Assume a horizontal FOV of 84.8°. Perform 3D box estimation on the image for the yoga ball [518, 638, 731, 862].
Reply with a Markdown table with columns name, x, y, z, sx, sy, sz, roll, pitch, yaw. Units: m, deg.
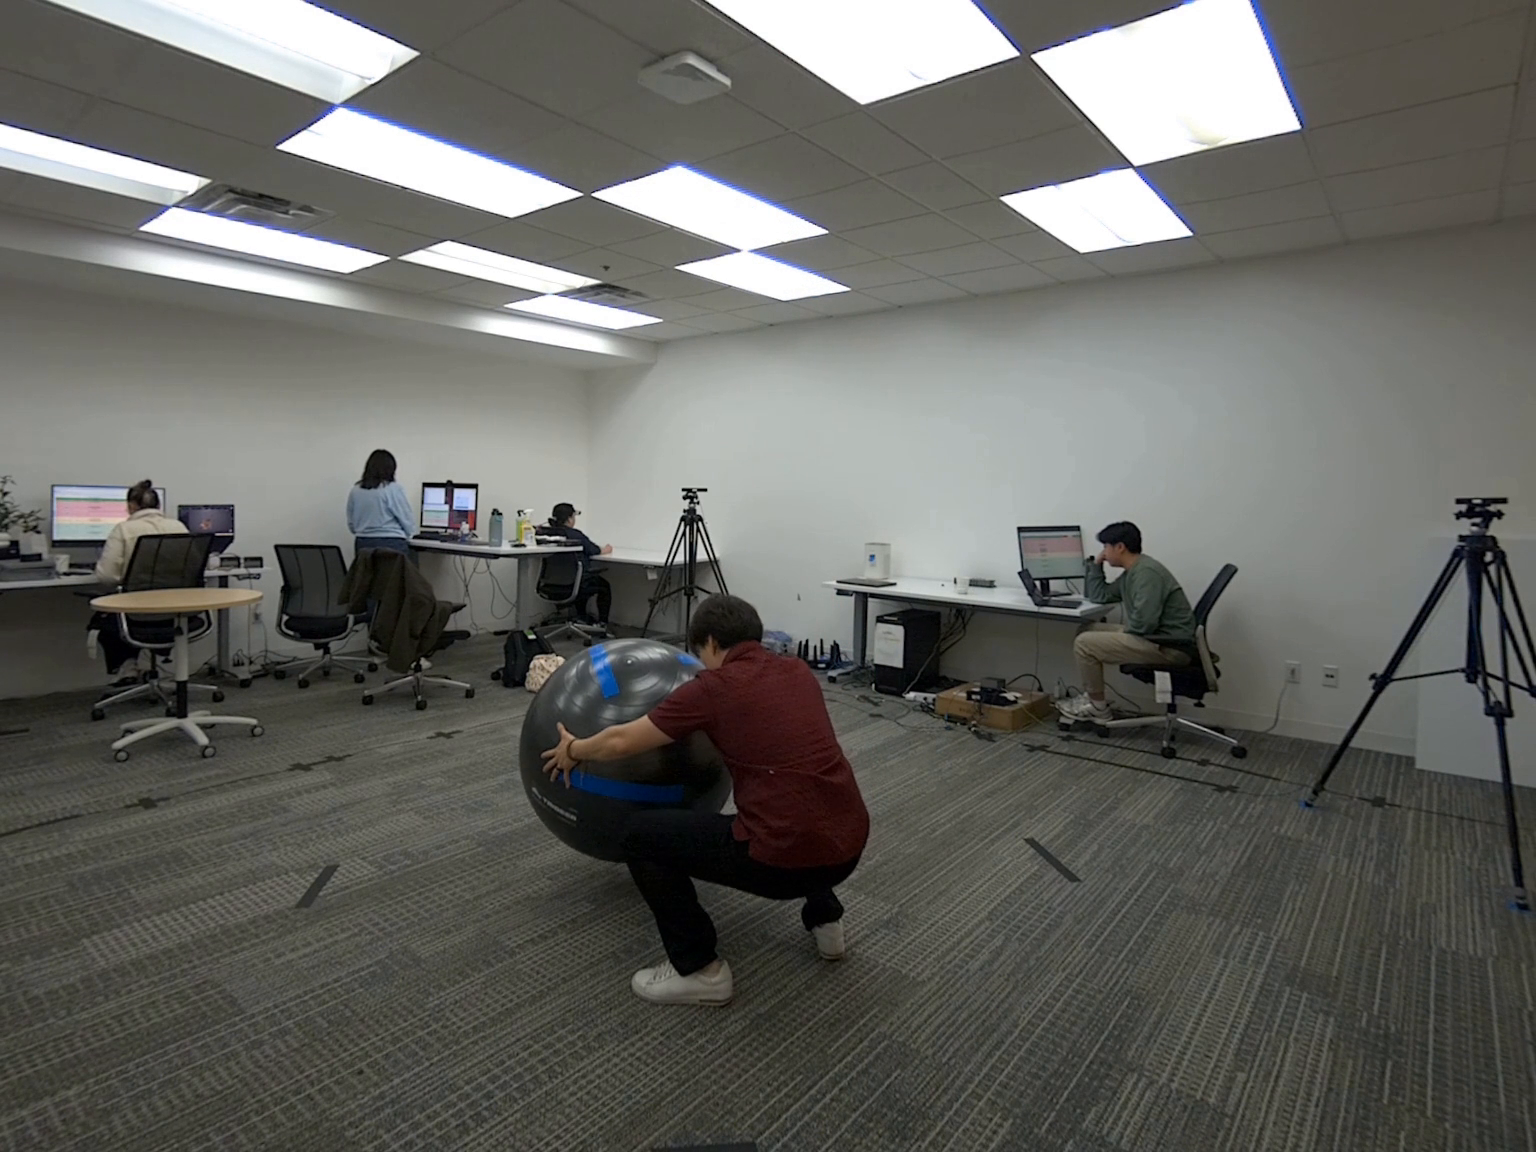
| name | x | y | z | sx | sy | sz | roll | pitch | yaw |
| --- | --- | --- | --- | --- | --- | --- | --- | --- | --- |
| yoga ball | -0.500 | 0.607 | 2.971 | 0.757 | 0.756 | 0.762 | 1 | 4 | -2 |
